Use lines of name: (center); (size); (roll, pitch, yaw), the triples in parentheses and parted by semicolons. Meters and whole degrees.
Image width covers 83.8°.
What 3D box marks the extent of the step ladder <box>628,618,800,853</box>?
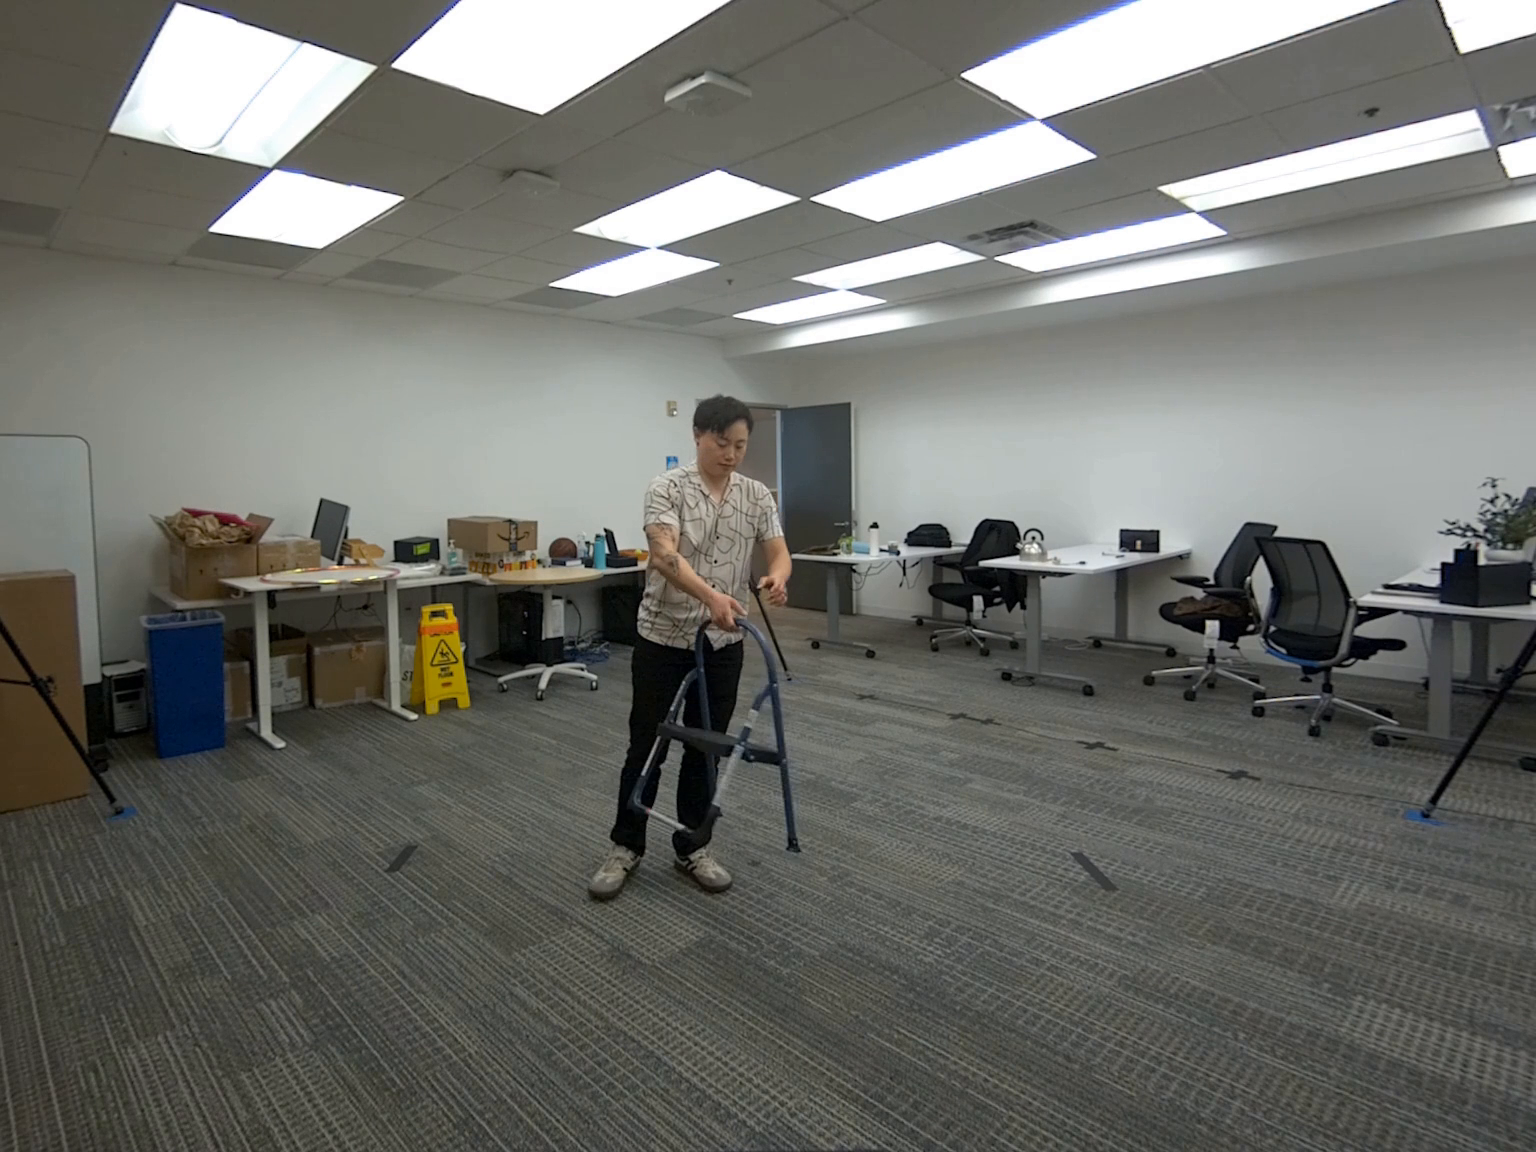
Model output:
step ladder: (-0.111, 0.446, 2.522); (0.338, 0.610, 0.442); (17, -10, -35)
